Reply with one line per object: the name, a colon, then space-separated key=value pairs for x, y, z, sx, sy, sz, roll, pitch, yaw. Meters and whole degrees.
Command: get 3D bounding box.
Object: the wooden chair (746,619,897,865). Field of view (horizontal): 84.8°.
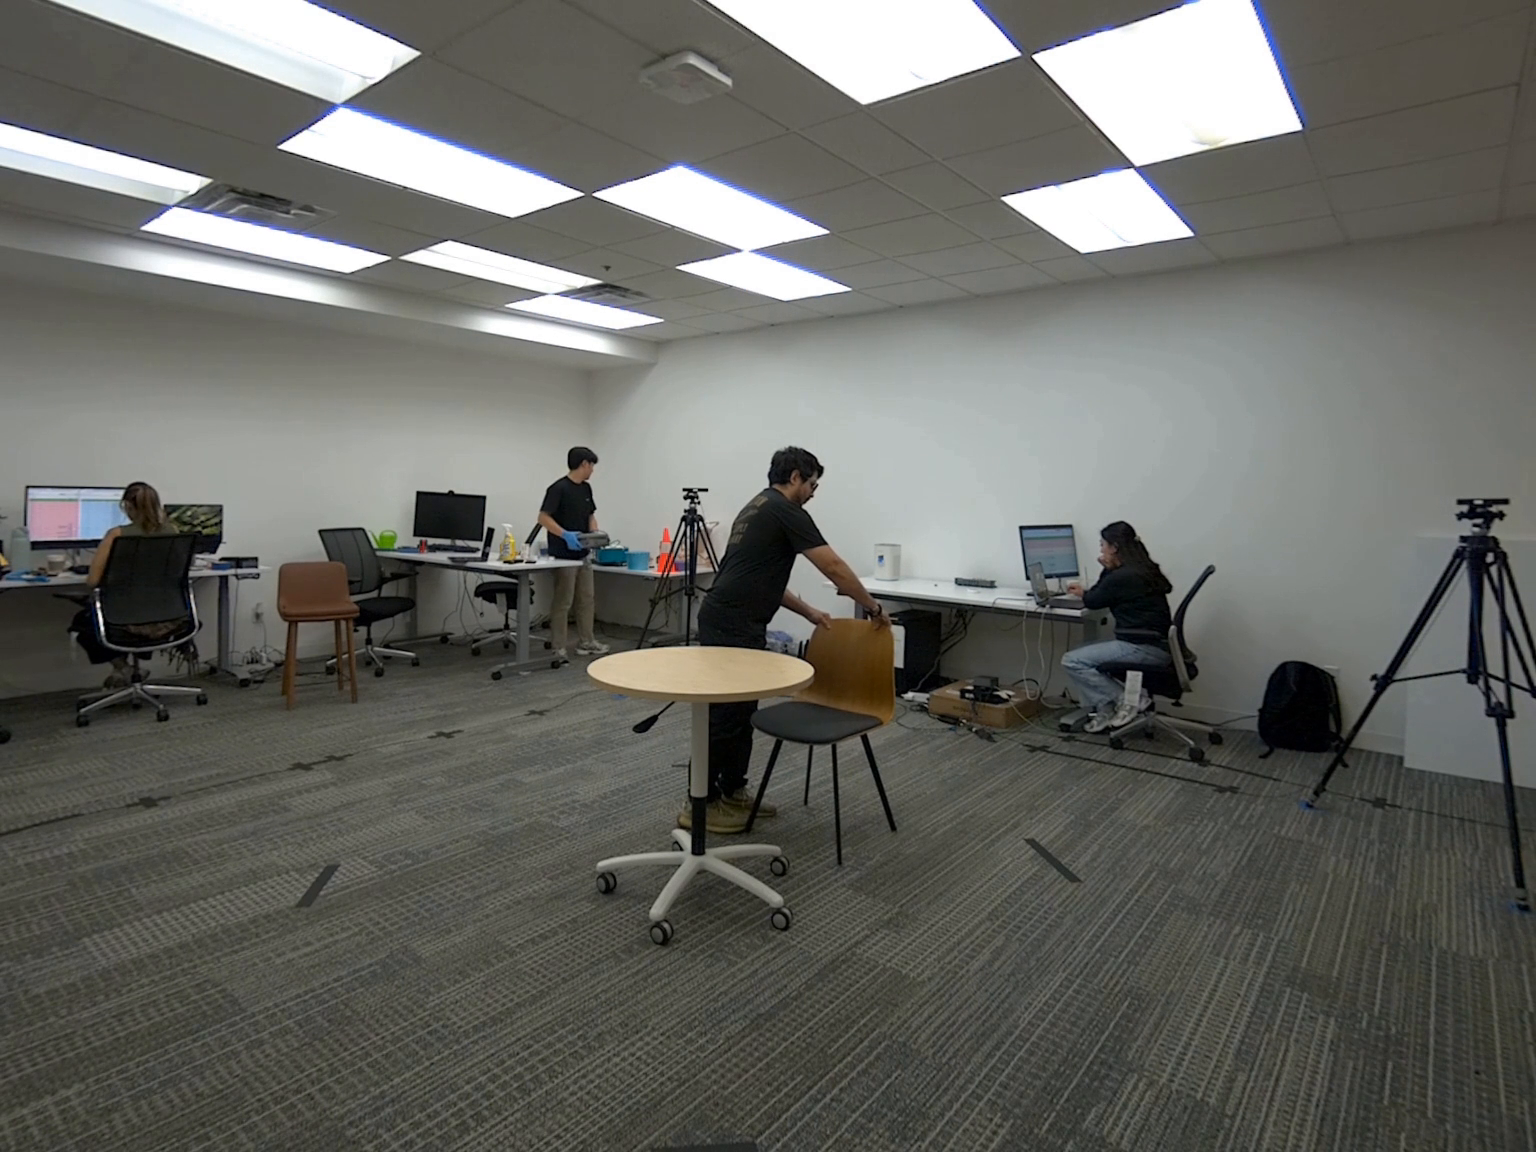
wooden chair: x=0.221 y=0.615 z=3.442 sx=0.494 sy=0.878 sz=0.506 roll=4 pitch=0 yaw=37
